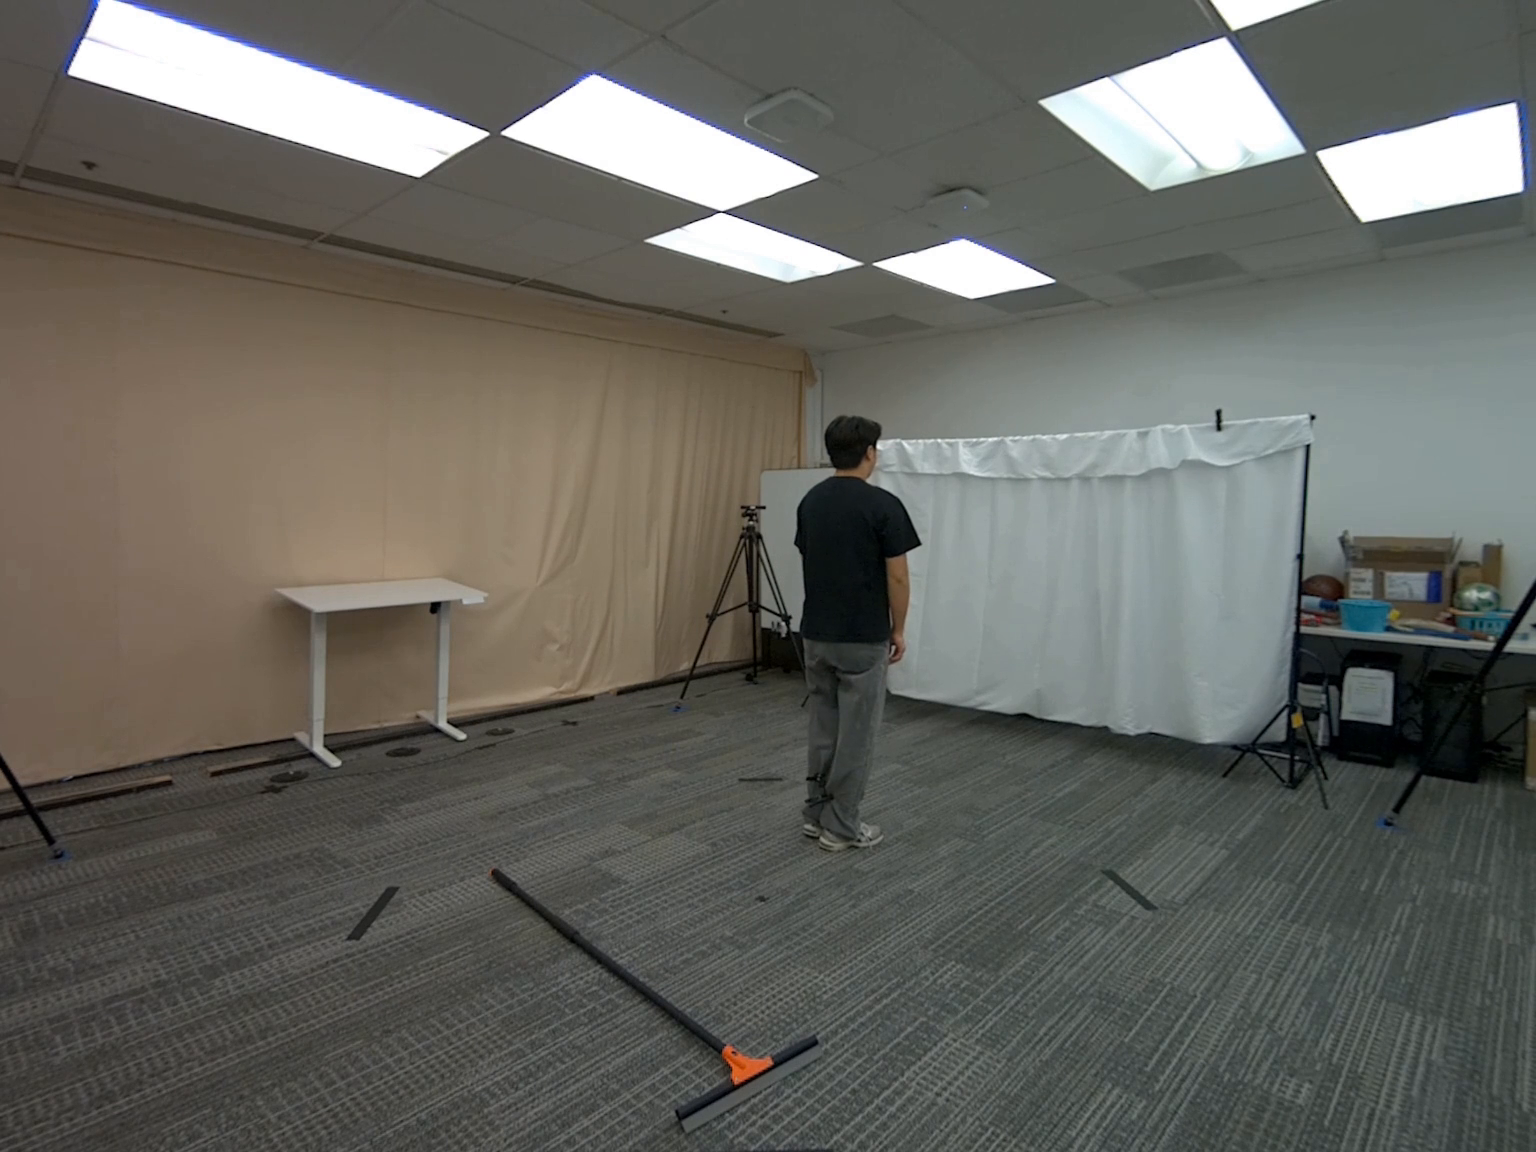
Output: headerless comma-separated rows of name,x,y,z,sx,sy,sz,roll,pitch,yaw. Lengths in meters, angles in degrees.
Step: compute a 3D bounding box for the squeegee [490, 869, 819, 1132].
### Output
squeegee,-0.530,1.138,2.594,0.424,0.053,1.589,-4,6,-41
